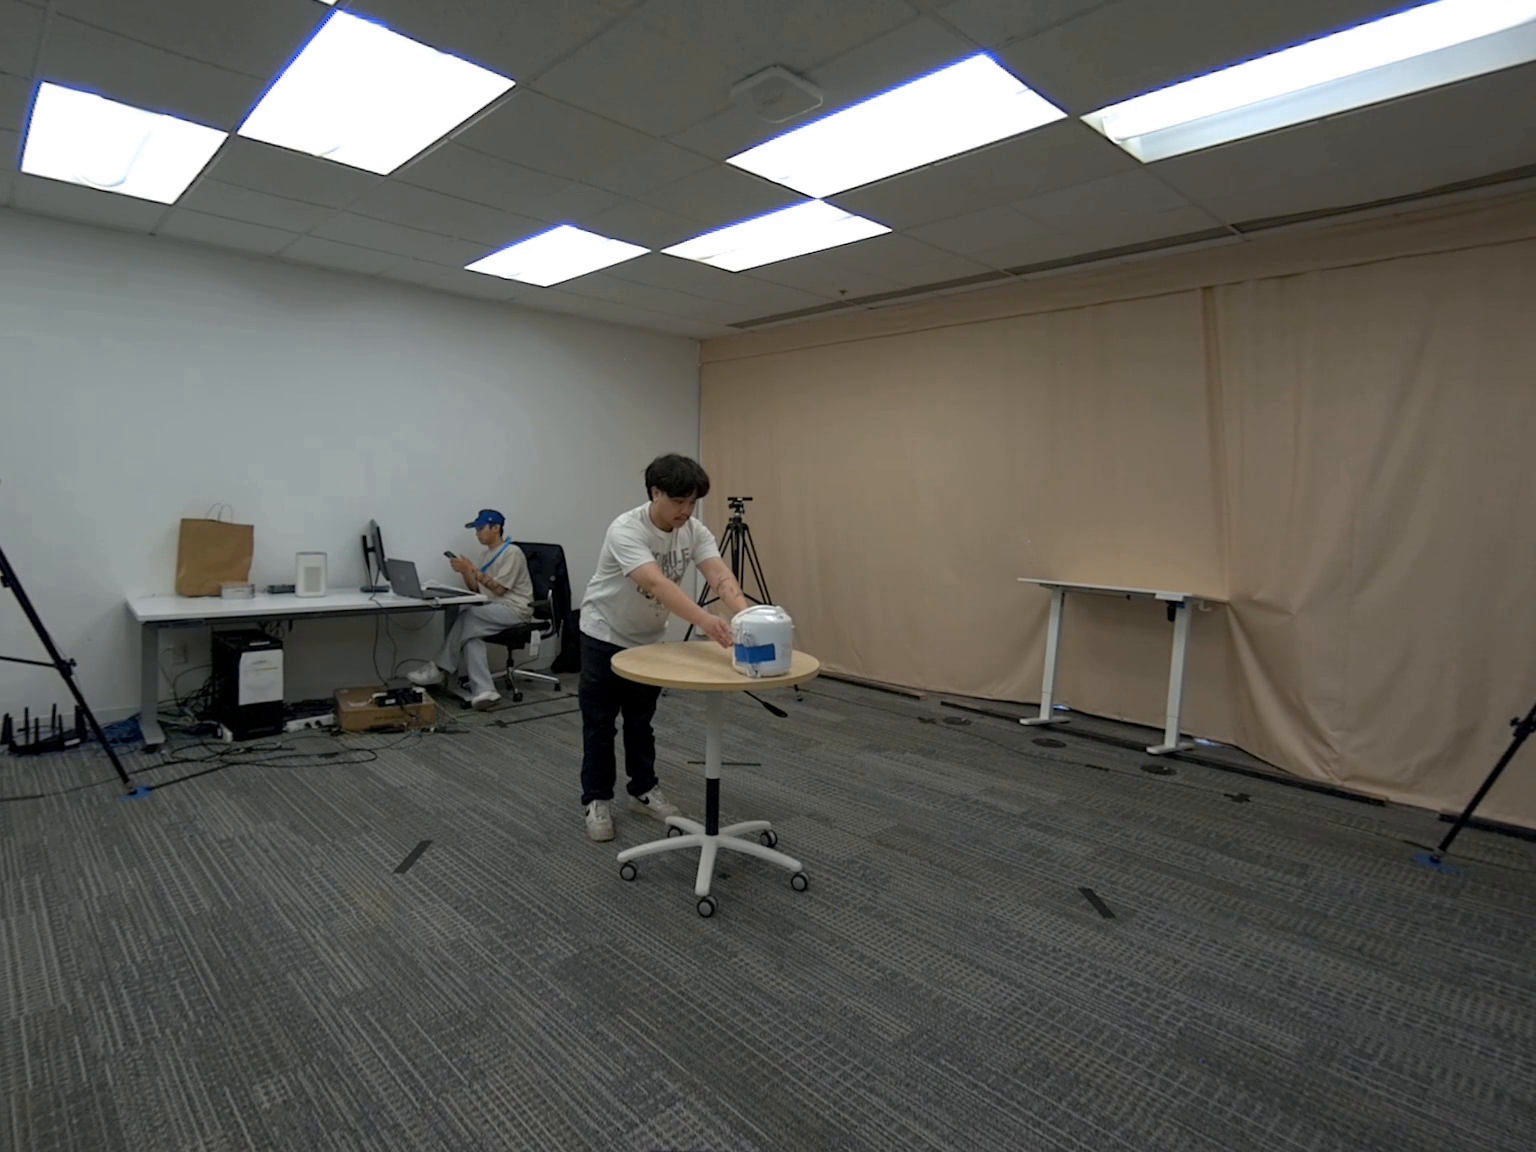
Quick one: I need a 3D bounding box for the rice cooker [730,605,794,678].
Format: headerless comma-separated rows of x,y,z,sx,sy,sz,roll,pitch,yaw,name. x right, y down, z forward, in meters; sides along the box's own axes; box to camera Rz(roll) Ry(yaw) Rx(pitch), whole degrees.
-0.026,0.219,2.900,0.216,0.232,0.222,1,4,-25,rice cooker
